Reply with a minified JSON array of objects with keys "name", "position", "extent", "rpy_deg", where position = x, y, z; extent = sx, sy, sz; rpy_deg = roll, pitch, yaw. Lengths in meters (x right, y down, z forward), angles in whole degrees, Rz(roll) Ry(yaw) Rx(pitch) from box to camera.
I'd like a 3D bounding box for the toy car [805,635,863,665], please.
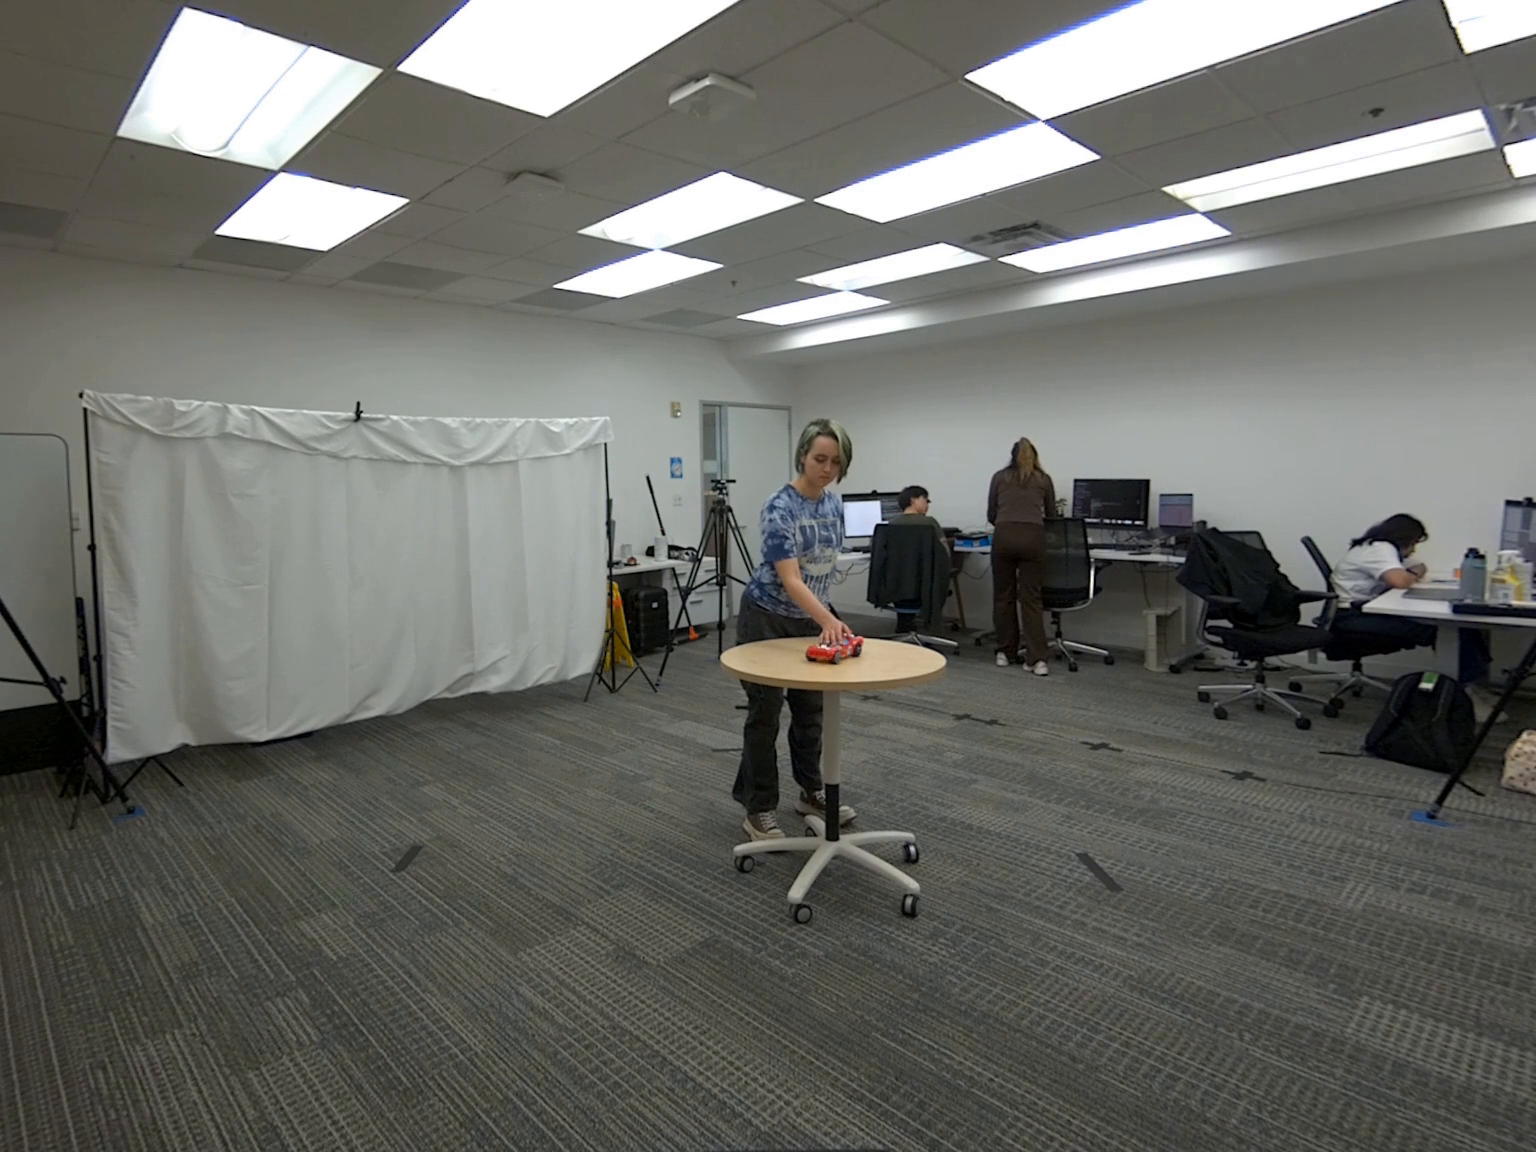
[{"name":"toy car","position":[0.246,0.253,2.920],"extent":[0.134,0.082,0.251],"rpy_deg":[2,17,34]}]
